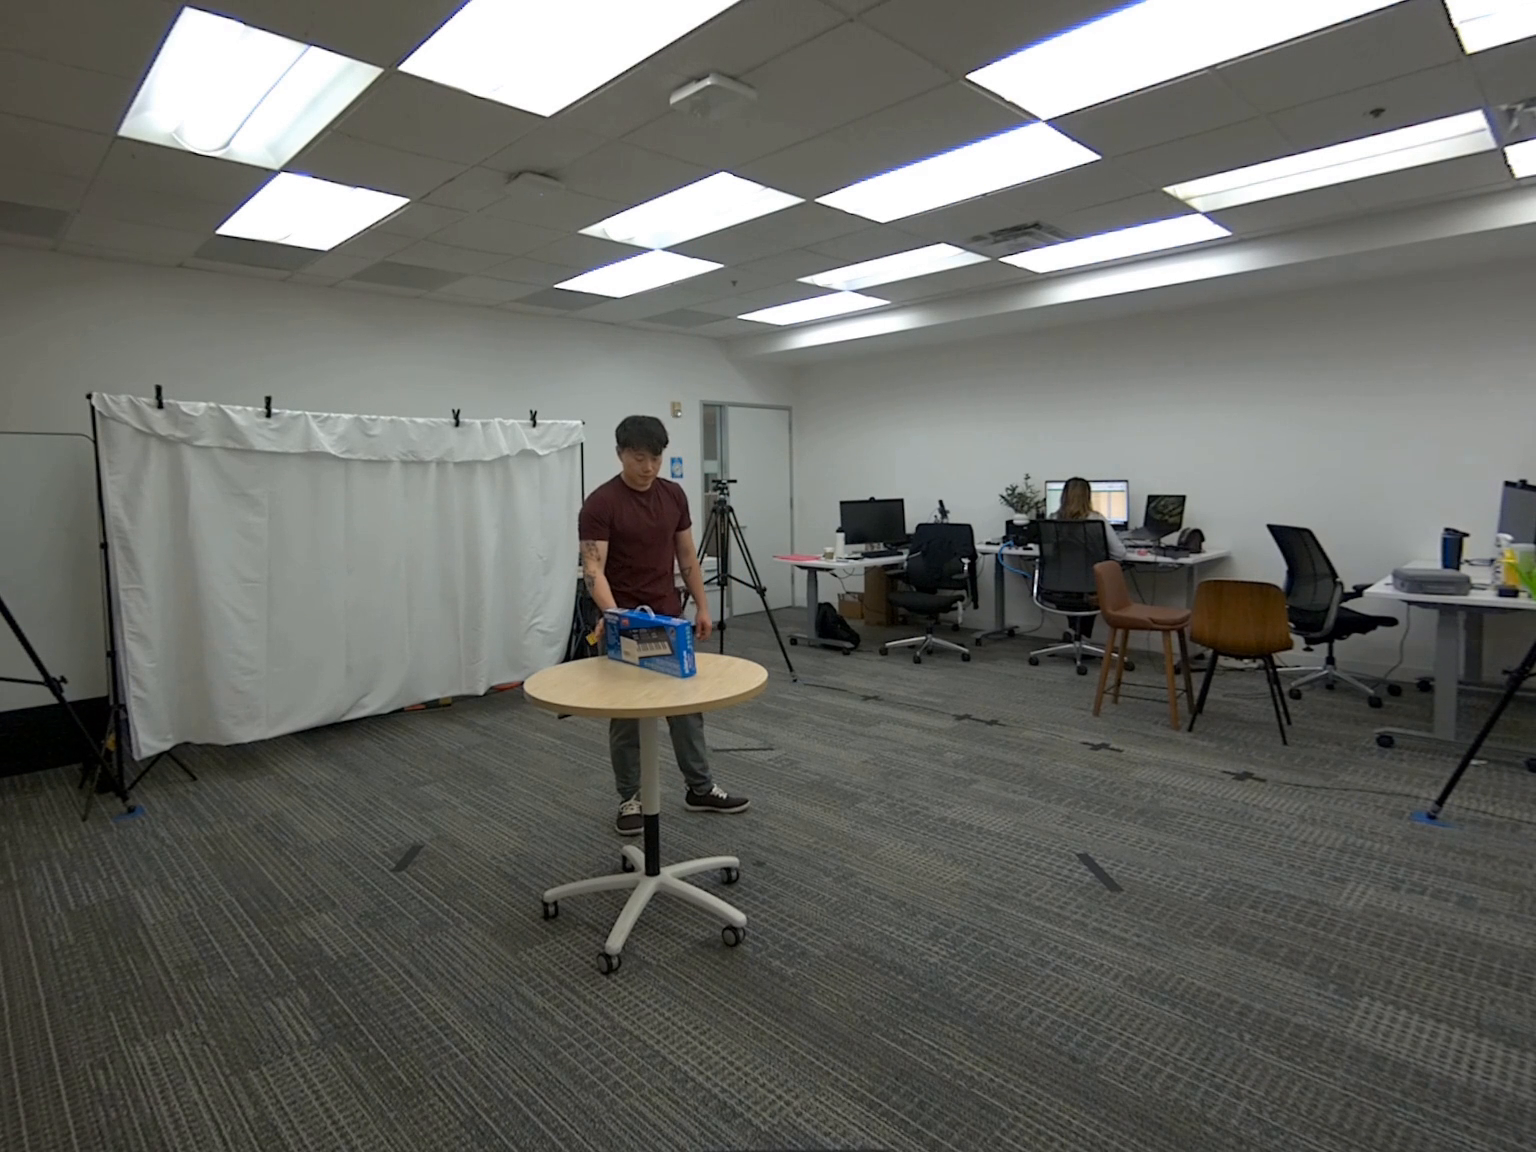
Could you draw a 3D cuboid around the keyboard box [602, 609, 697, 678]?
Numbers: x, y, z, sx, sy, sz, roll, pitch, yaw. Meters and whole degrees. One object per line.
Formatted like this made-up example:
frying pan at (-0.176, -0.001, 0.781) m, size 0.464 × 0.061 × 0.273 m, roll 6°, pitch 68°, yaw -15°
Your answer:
keyboard box at (-0.402, 0.221, 2.835) m, size 0.058 × 0.174 × 0.450 m, roll -11°, pitch 11°, yaw -40°
